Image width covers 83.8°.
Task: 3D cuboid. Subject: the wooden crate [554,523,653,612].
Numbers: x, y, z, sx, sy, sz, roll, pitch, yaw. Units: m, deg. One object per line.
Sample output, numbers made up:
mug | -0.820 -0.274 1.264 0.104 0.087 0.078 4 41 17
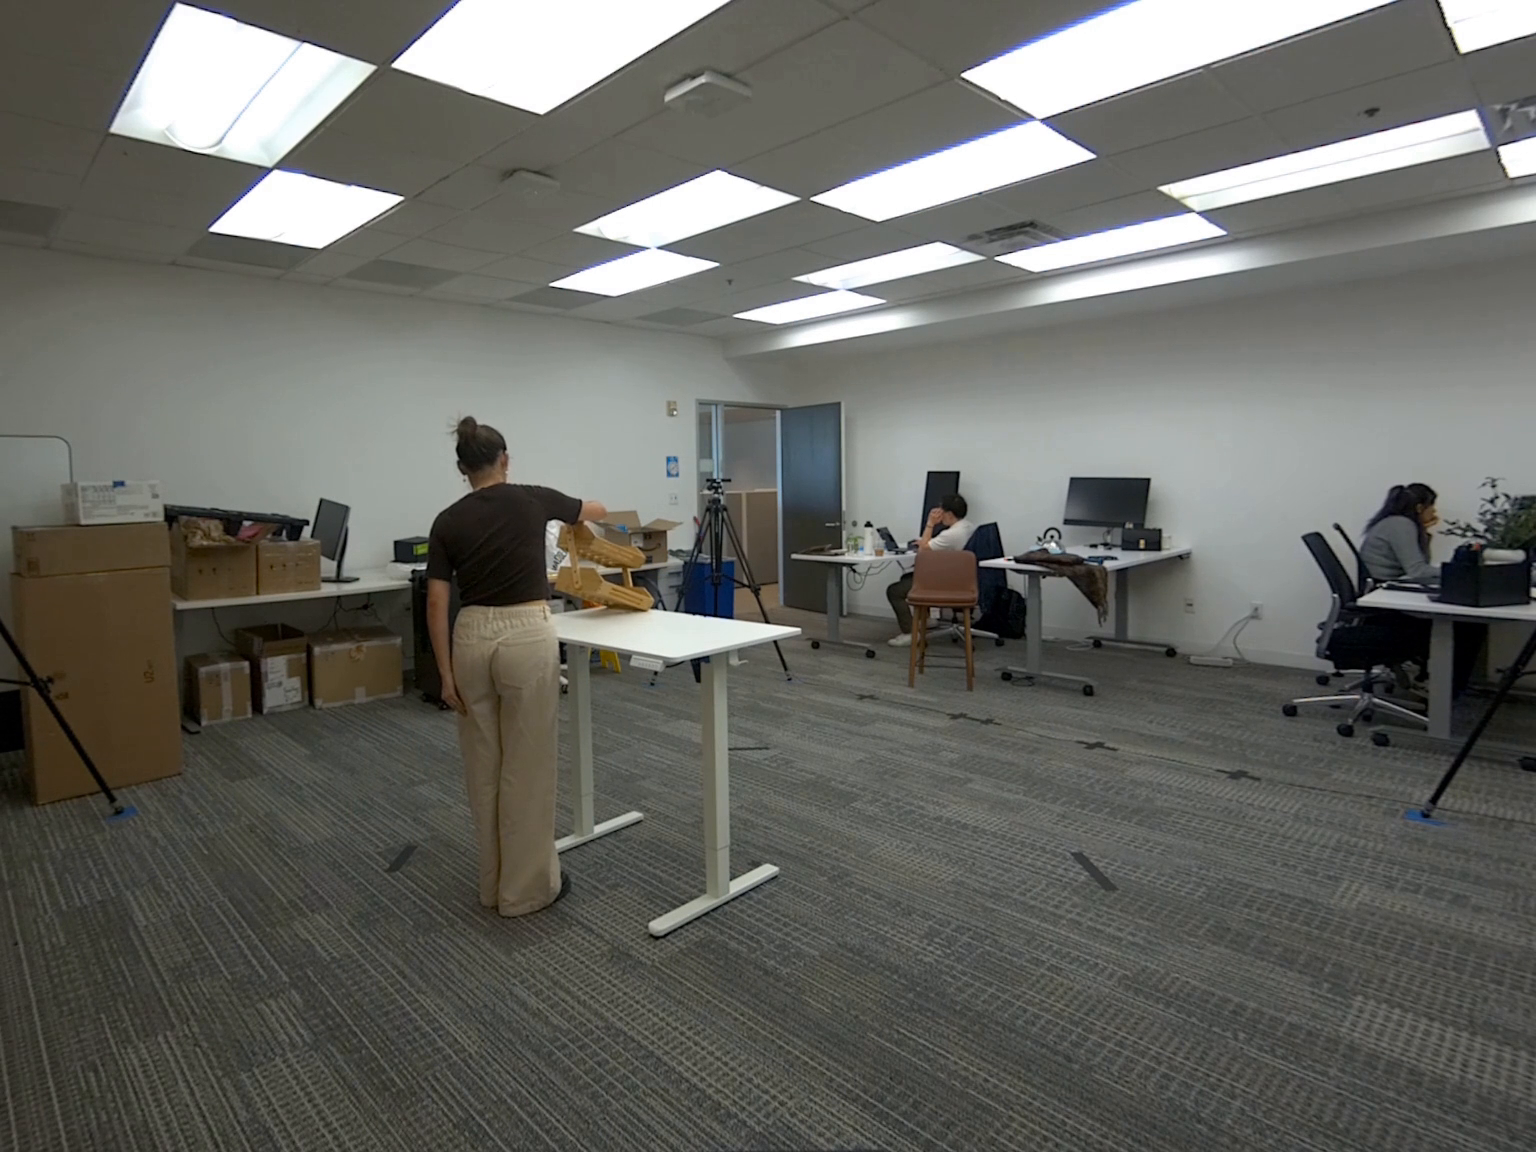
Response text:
wooden crate | -0.639 -0.034 3.379 0.310 0.276 0.312 1 -16 35
